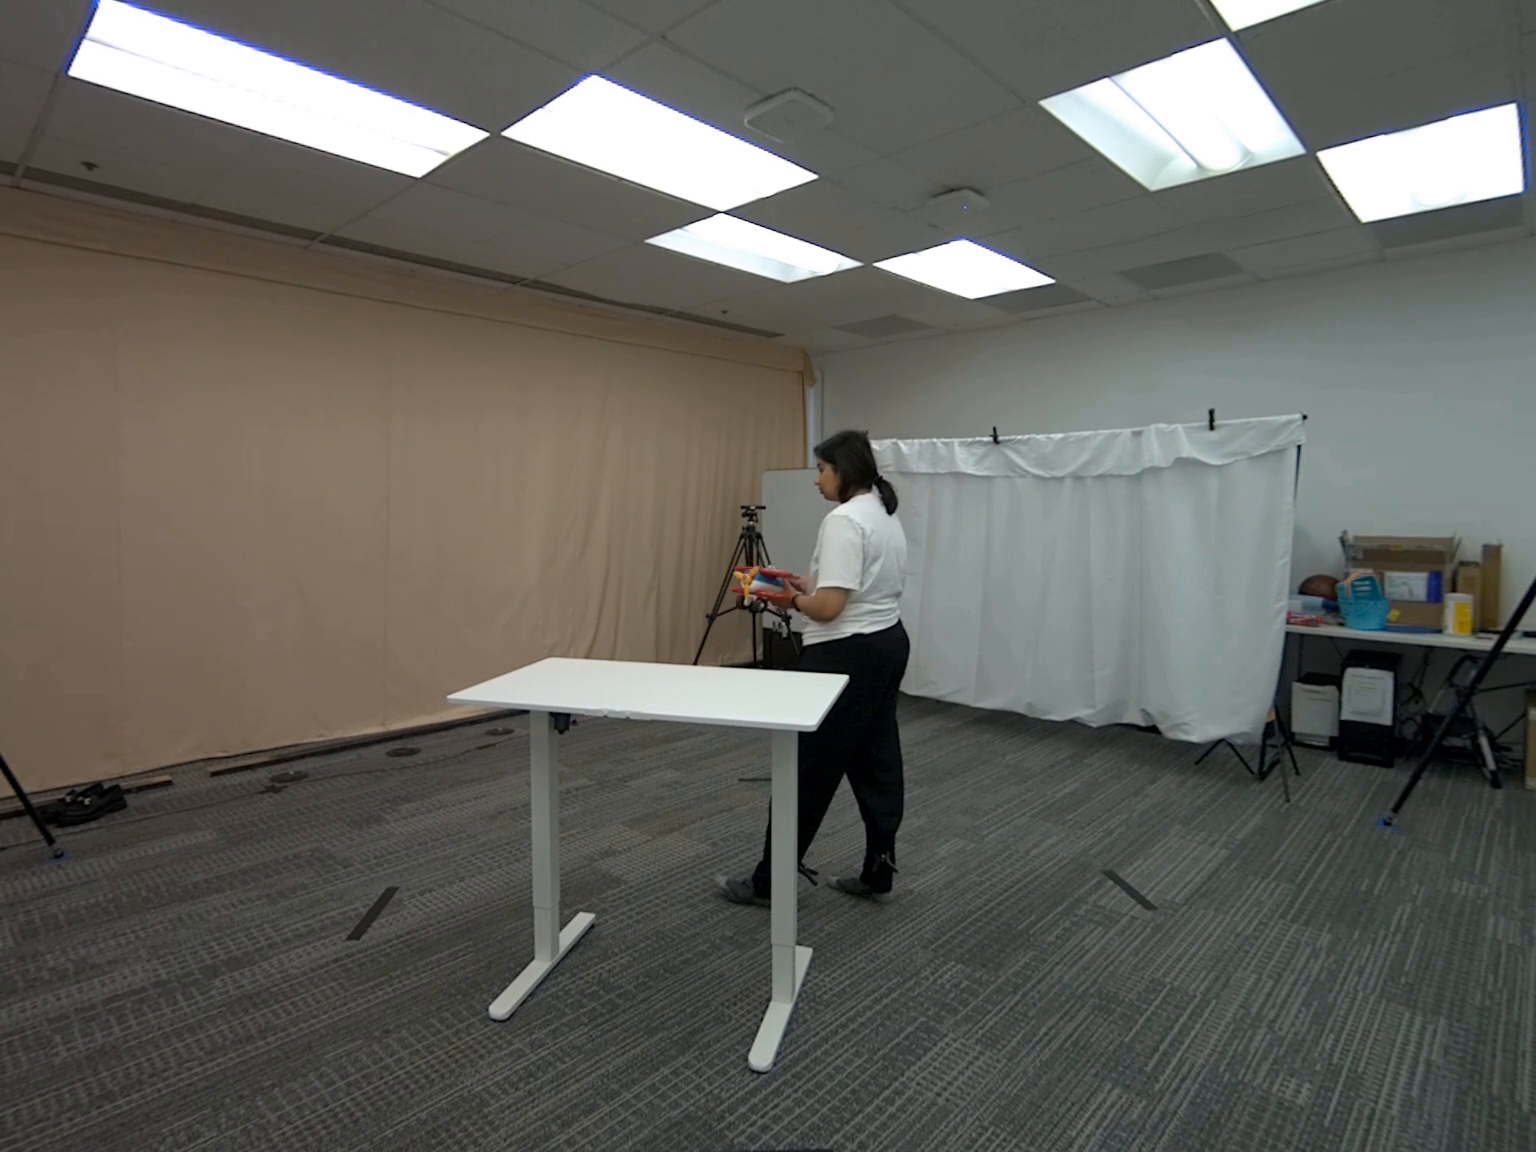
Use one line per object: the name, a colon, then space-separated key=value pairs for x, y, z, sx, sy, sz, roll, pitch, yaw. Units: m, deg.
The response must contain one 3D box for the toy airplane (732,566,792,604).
toy airplane: x=-0.023 y=0.043 z=3.057 sx=0.255 sy=0.156 sz=0.256 roll=2 pitch=5 yaw=12
